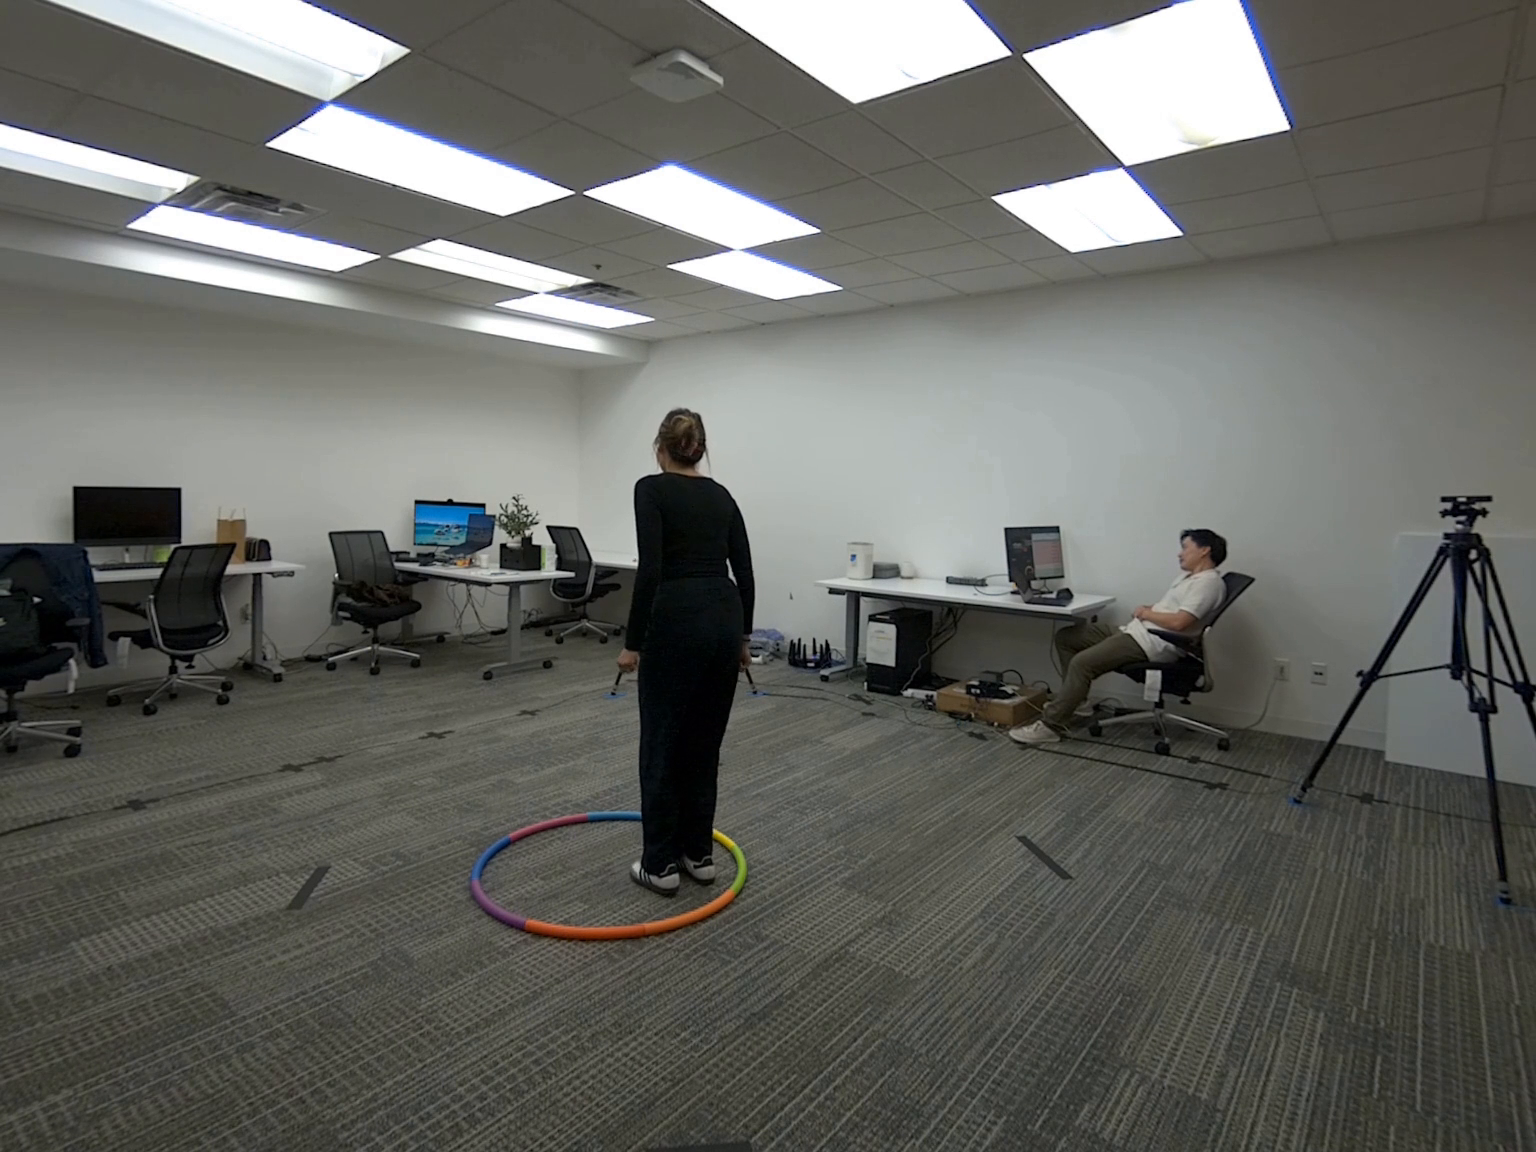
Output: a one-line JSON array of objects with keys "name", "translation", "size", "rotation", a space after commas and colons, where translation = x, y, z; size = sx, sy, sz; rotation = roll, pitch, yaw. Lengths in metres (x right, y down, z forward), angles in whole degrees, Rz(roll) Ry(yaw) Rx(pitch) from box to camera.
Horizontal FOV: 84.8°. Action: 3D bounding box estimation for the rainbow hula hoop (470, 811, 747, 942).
[{"name": "rainbow hula hoop", "translation": [-0.573, 1.035, 3.082], "size": [0.978, 0.035, 0.984], "rotation": [0, 6, -2]}]
